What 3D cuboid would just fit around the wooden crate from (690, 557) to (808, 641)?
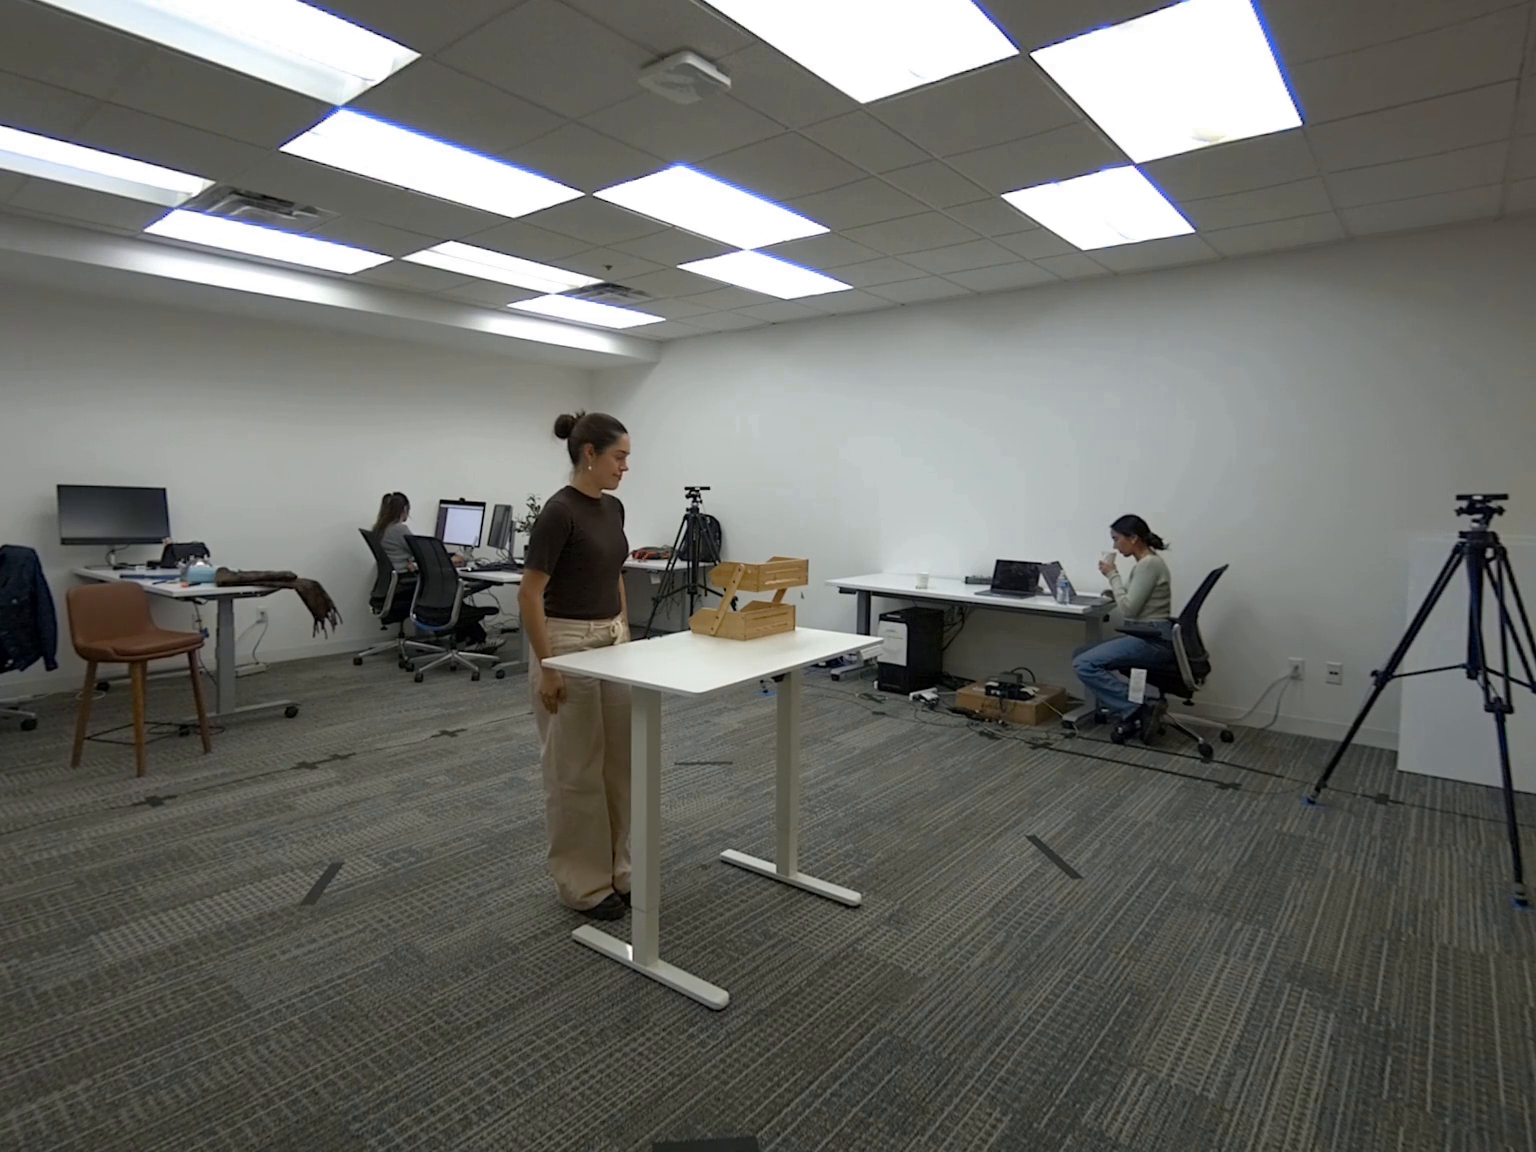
[{"bbox_3d":[-0.078,0.066,2.980,0.312,0.272,0.315,6,7,38],"label":"wooden crate"}]
